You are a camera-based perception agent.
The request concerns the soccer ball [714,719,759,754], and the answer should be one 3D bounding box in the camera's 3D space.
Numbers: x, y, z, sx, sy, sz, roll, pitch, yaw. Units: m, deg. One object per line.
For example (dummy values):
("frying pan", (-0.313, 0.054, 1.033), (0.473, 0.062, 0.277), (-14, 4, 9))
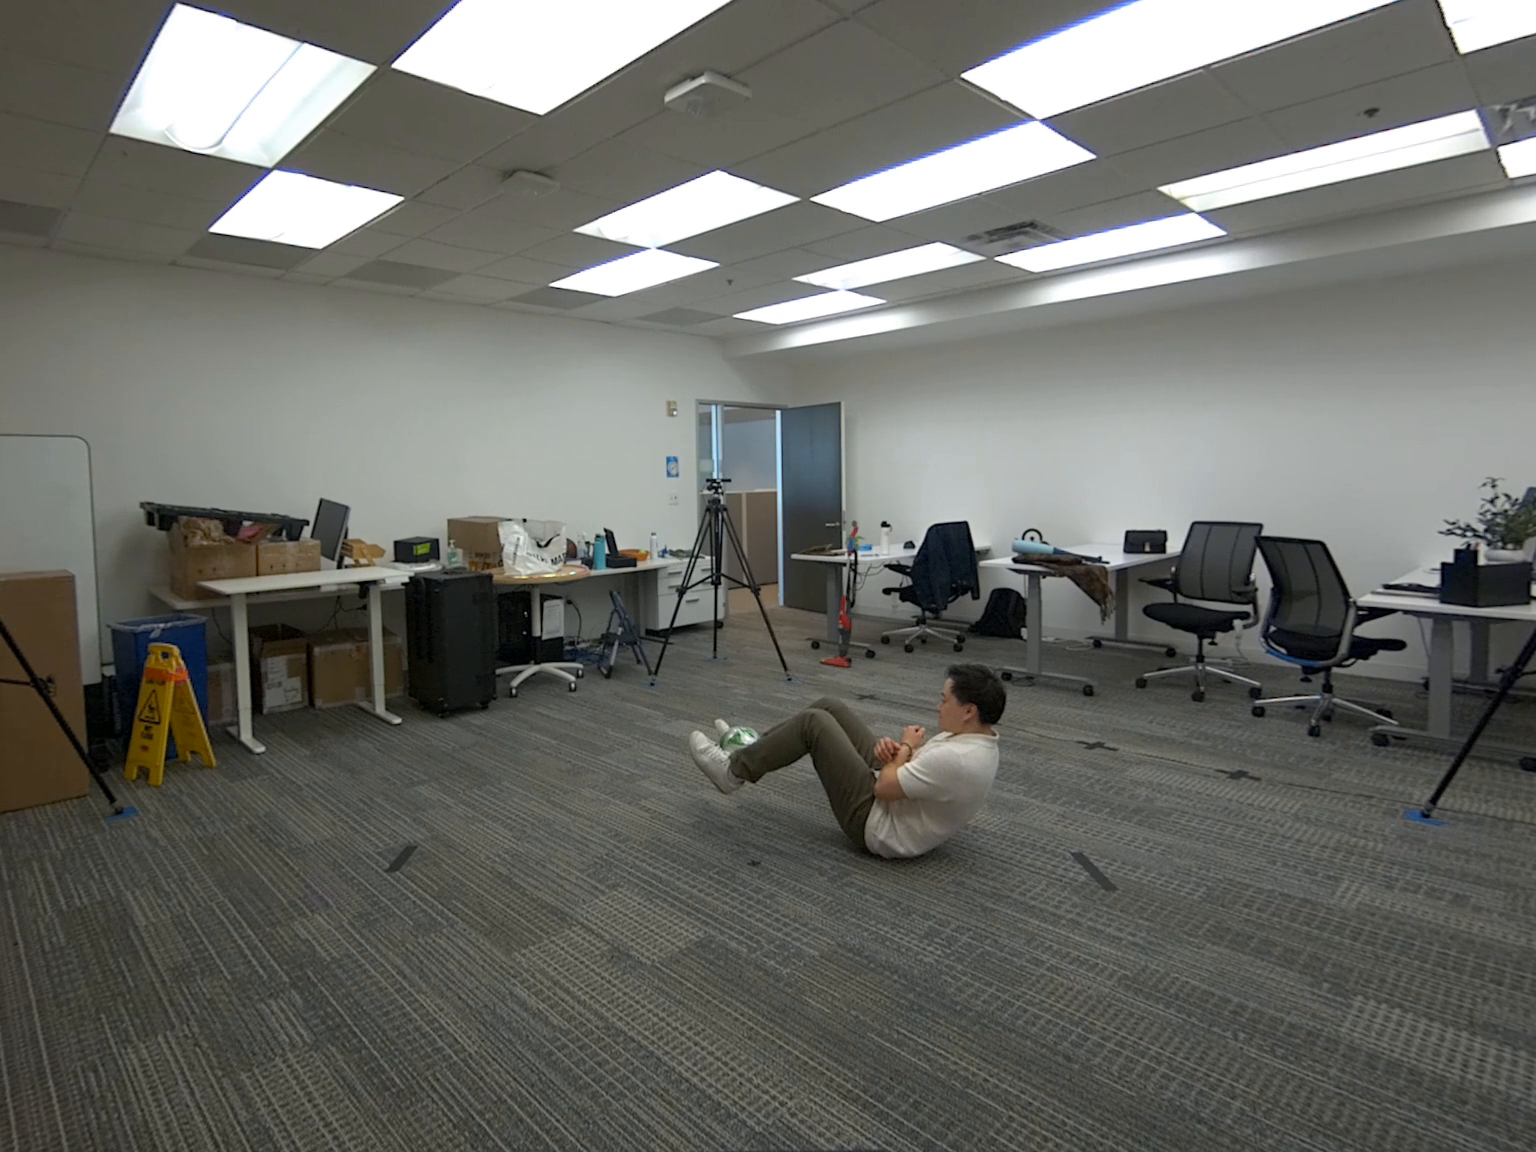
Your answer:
("soccer ball", (-0.101, 0.707, 3.472), (0.187, 0.187, 0.188), (-1, 5, -2))
